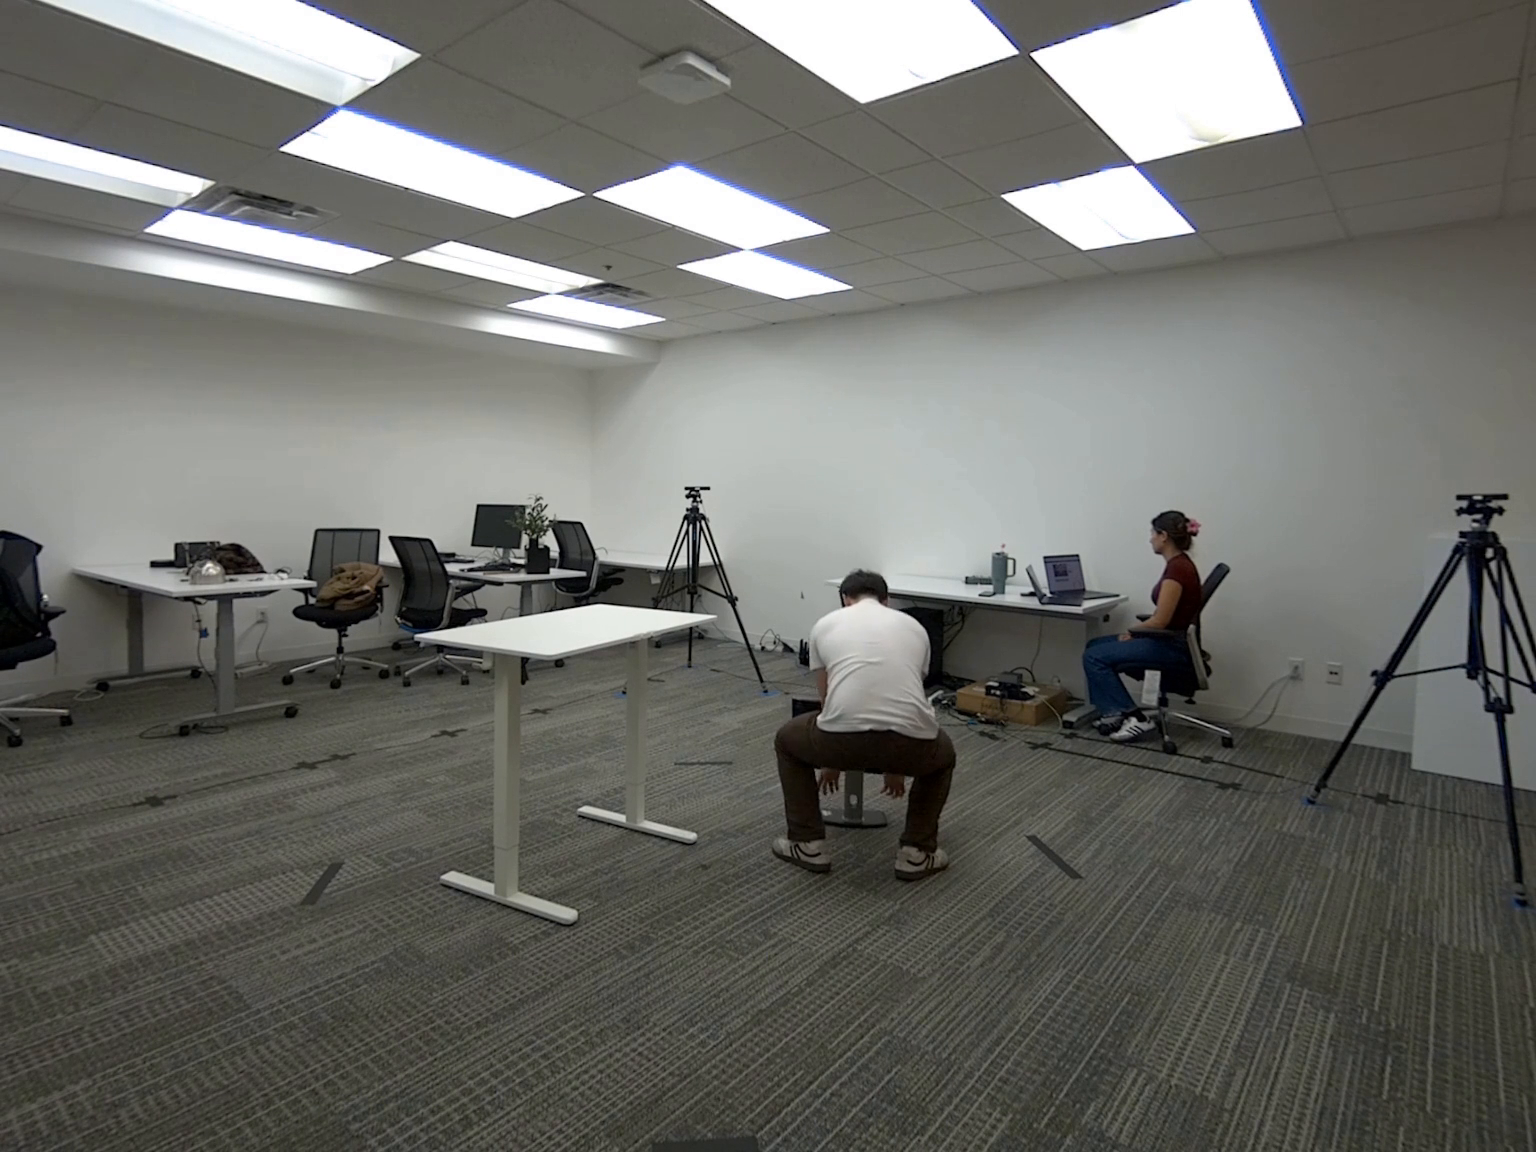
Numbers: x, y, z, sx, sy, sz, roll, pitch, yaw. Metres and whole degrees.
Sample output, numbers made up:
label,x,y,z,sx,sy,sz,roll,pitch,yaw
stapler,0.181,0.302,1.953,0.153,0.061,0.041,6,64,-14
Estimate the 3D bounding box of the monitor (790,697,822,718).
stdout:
label,x,y,z,sx,sy,sz,roll,pitch,yaw
monitor,0.360,0.770,3.566,0.543,0.519,0.187,3,6,7
